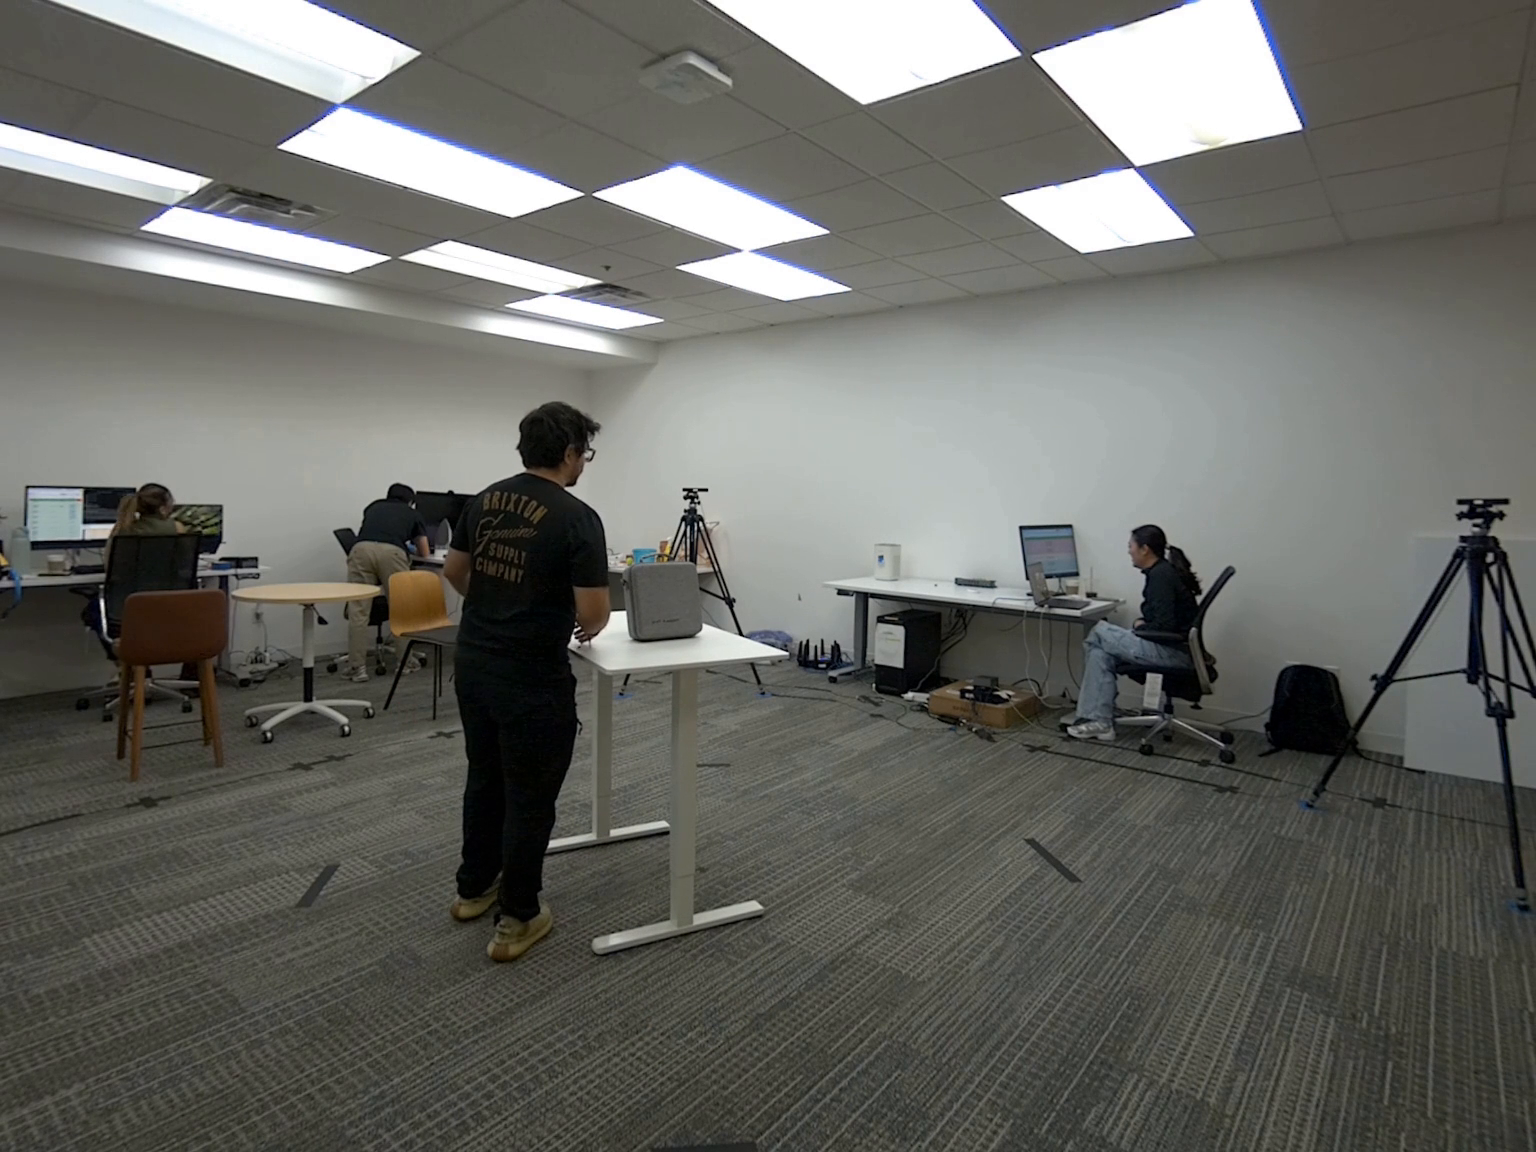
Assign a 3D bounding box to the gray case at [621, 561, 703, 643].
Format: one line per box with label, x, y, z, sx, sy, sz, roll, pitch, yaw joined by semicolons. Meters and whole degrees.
gray case;-0.365;0.074;2.884;0.250;0.263;0.106;-2;-8;-33
